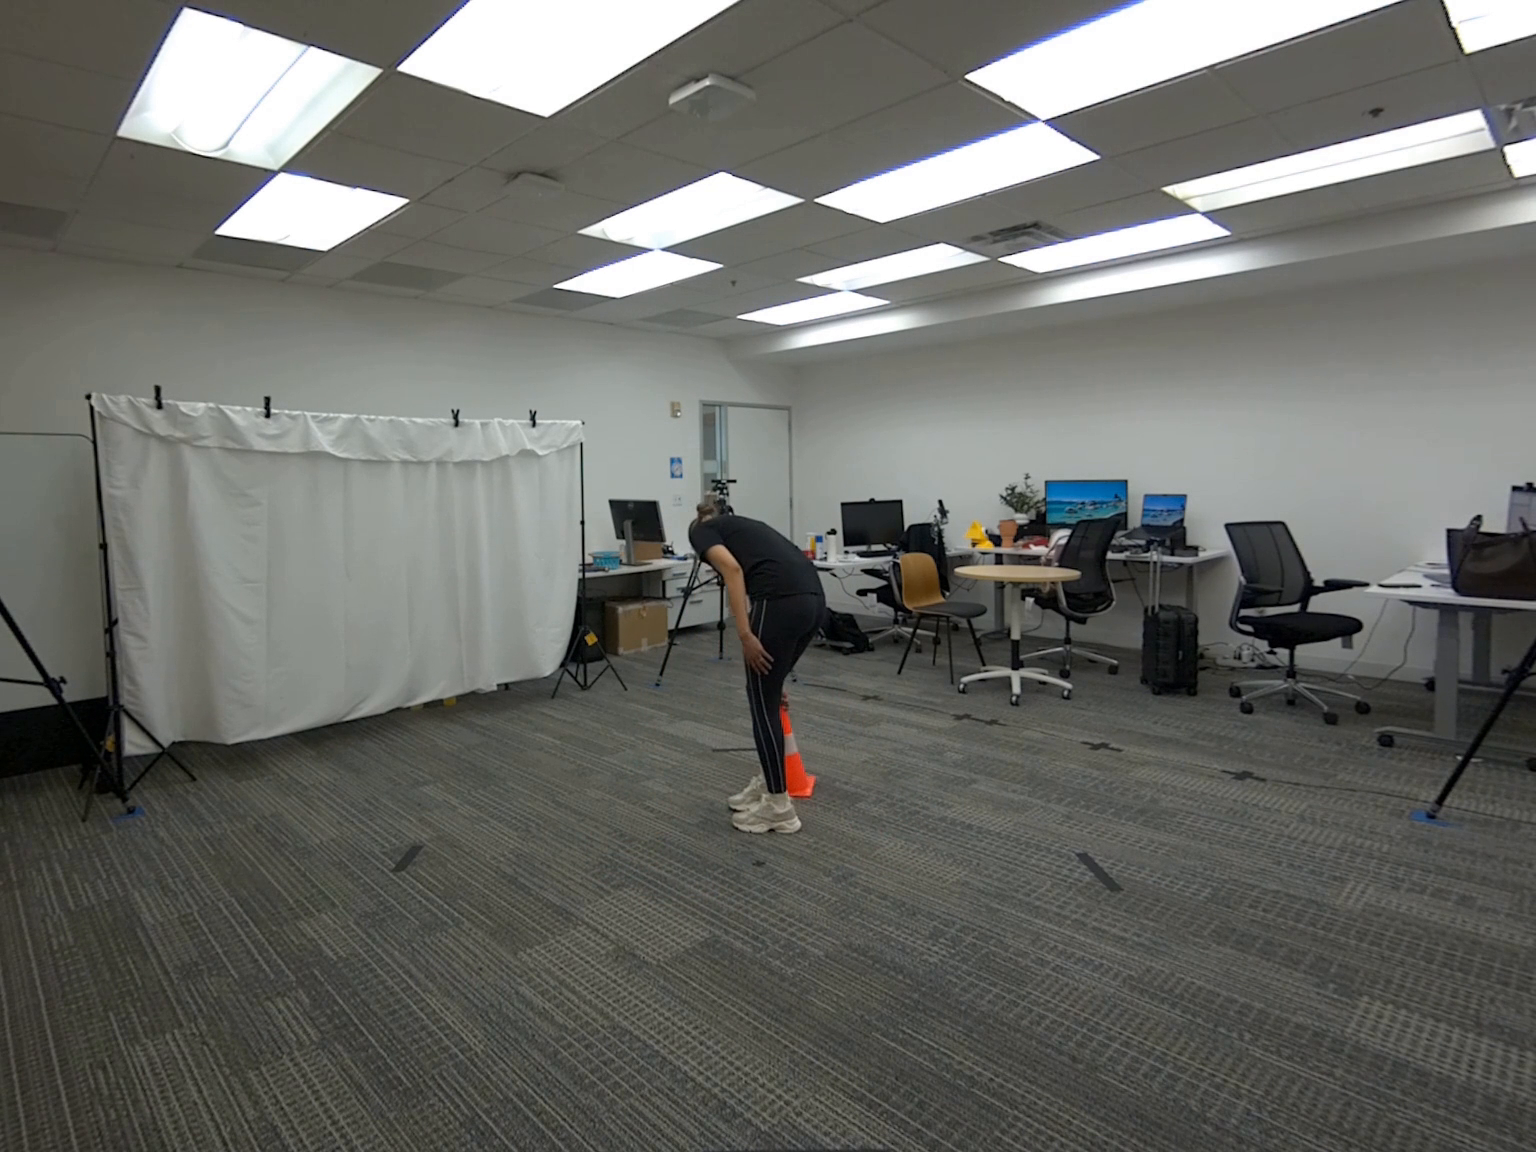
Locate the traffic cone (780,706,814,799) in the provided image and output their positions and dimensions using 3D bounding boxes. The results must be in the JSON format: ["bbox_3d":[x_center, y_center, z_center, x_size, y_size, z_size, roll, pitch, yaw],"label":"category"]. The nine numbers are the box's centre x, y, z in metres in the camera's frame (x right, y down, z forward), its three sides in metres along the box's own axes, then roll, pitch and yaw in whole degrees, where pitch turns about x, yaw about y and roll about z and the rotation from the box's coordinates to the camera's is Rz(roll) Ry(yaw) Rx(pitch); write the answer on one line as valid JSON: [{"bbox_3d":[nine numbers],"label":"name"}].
[{"bbox_3d":[0.080,0.772,3.844,0.205,0.381,0.204,-7,7,11],"label":"traffic cone"}]
